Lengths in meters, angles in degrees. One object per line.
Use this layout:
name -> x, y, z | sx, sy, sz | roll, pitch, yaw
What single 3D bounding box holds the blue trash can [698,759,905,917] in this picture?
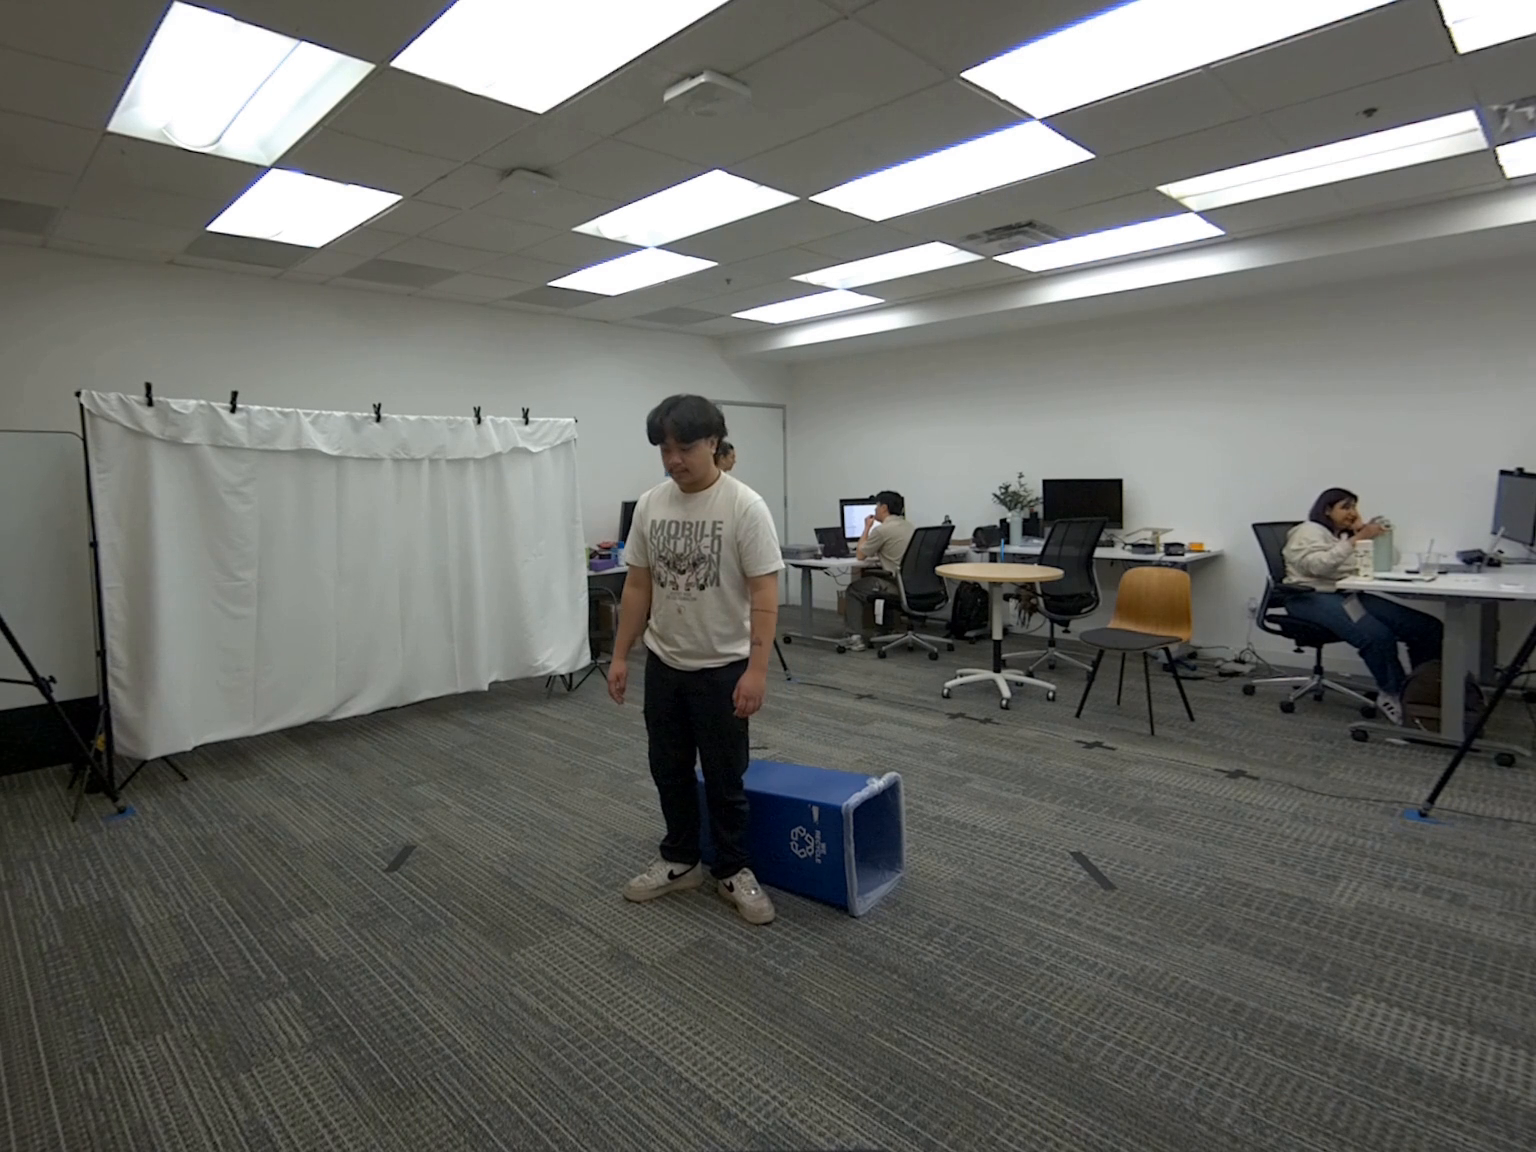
blue trash can -> 0.082, 0.883, 3.050 | 0.733, 0.373, 0.369 | -1, 5, 36
